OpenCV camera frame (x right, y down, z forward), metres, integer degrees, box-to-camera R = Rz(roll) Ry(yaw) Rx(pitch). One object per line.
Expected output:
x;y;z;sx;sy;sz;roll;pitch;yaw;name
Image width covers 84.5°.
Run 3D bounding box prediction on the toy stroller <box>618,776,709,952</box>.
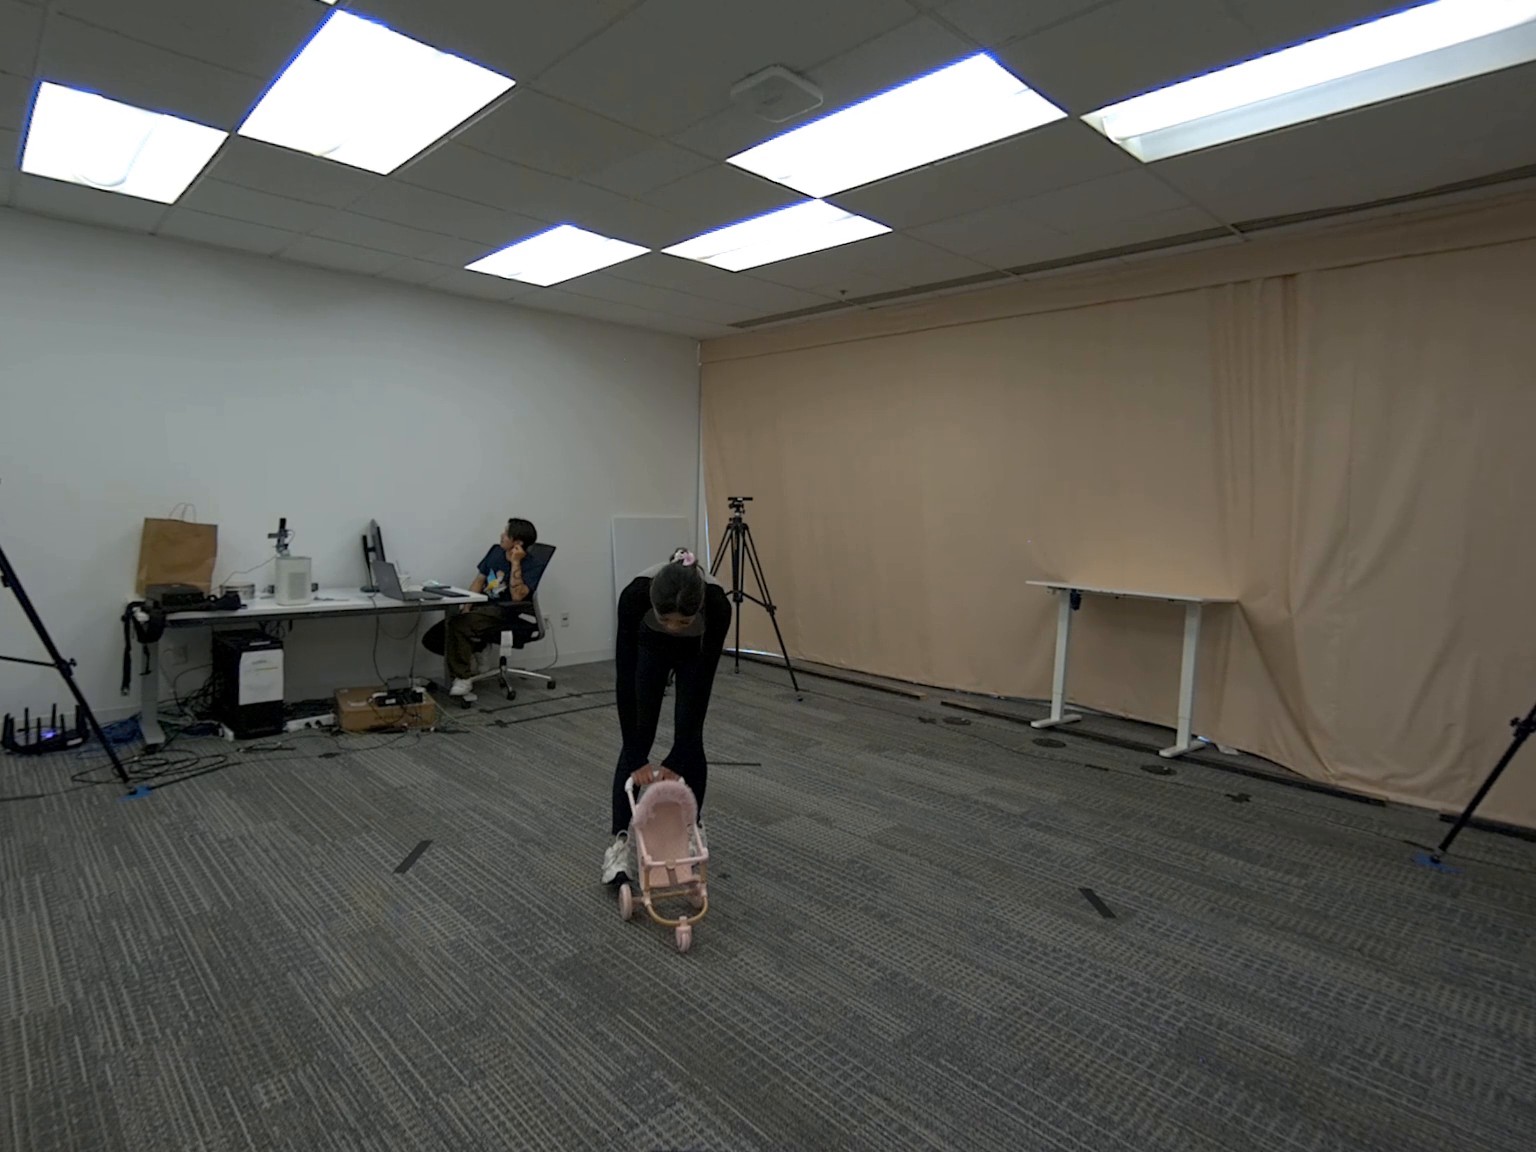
-0.334;0.912;2.746;0.278;0.540;0.342;0;-13;-18;toy stroller
